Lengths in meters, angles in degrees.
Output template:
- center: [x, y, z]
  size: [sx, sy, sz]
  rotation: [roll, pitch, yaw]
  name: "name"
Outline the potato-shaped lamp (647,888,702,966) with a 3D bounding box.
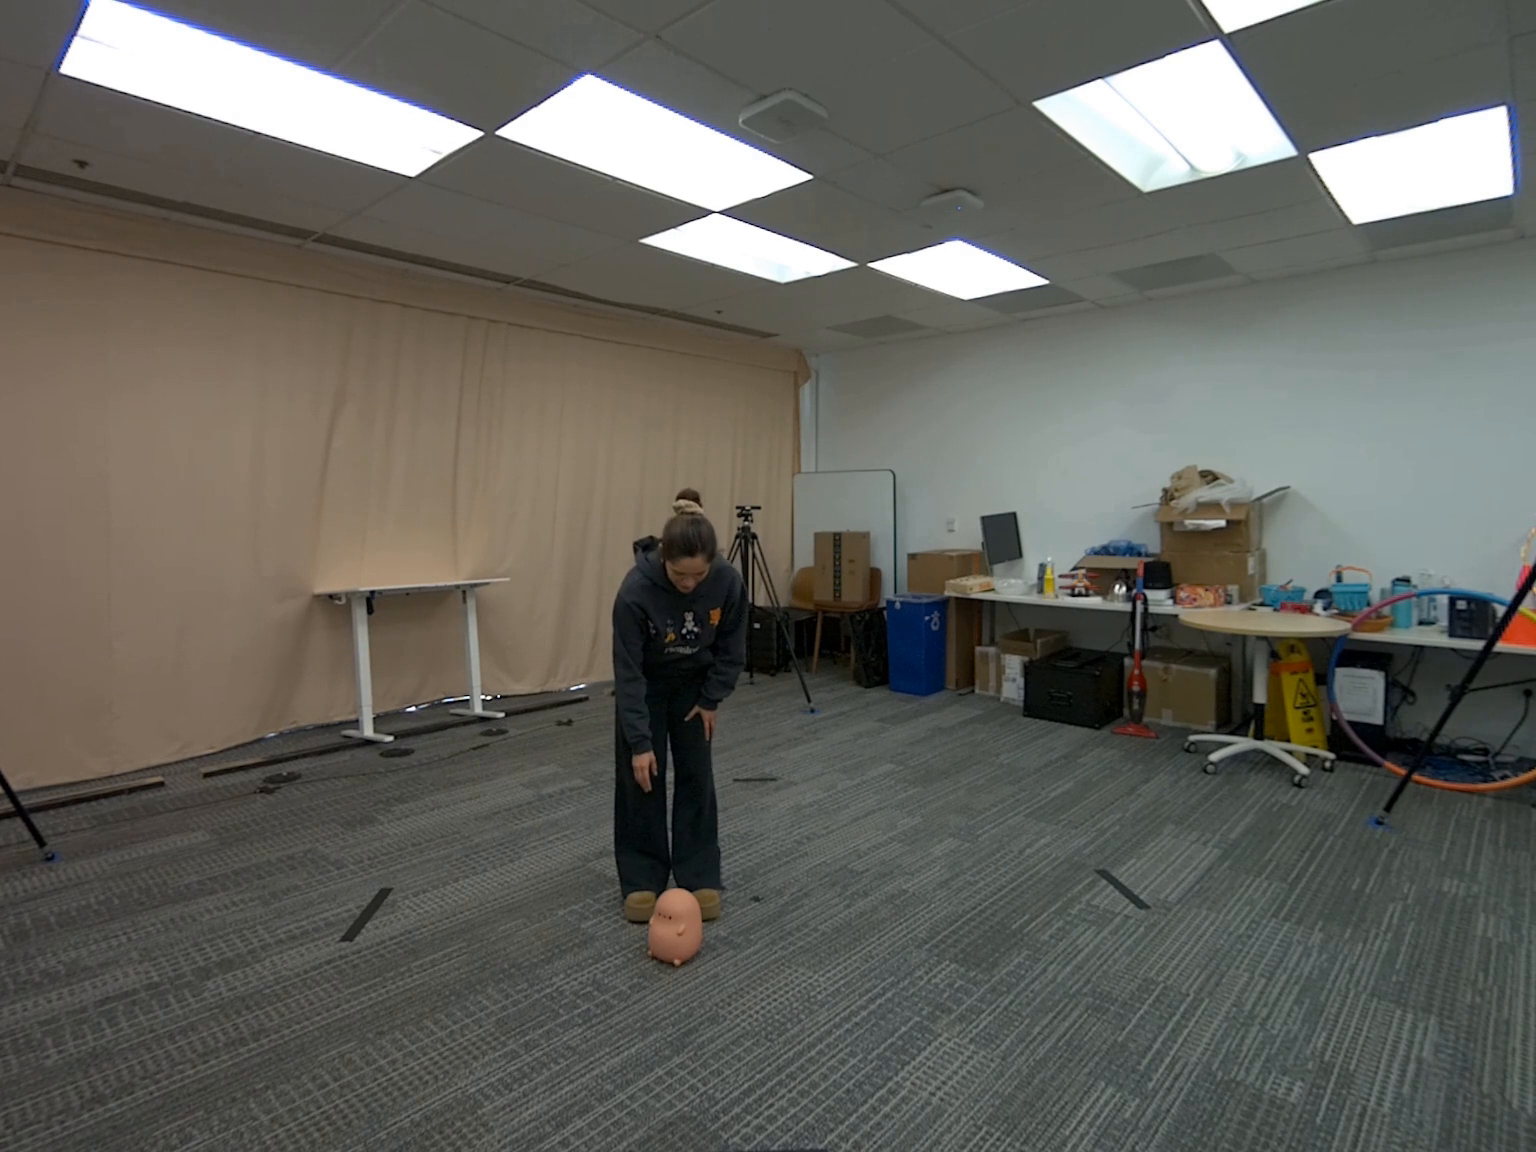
- center: [-0.274, 1.072, 2.620]
  size: [0.170, 0.197, 0.166]
  rotation: [1, 4, 36]
  name: "potato-shaped lamp"
